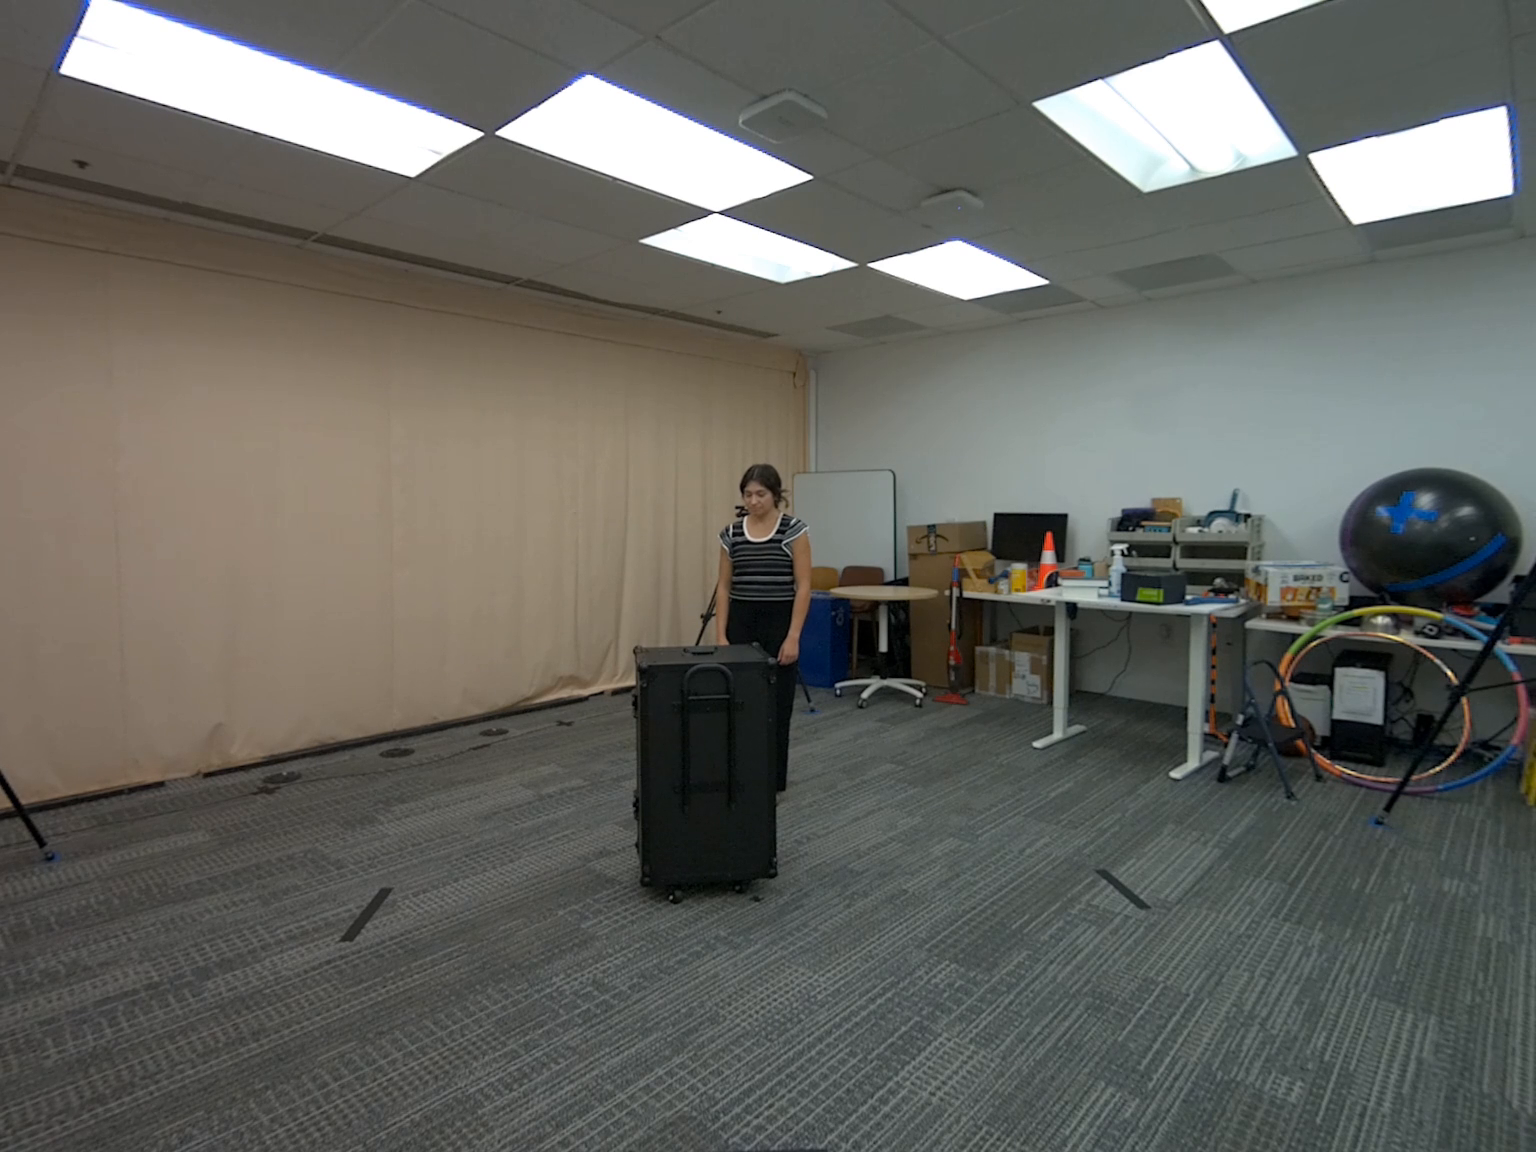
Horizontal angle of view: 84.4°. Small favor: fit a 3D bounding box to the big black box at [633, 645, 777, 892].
[{"bbox_3d":[-0.236,0.710,3.098,0.517,0.859,0.400,0,3,-7],"label":"big black box"}]
